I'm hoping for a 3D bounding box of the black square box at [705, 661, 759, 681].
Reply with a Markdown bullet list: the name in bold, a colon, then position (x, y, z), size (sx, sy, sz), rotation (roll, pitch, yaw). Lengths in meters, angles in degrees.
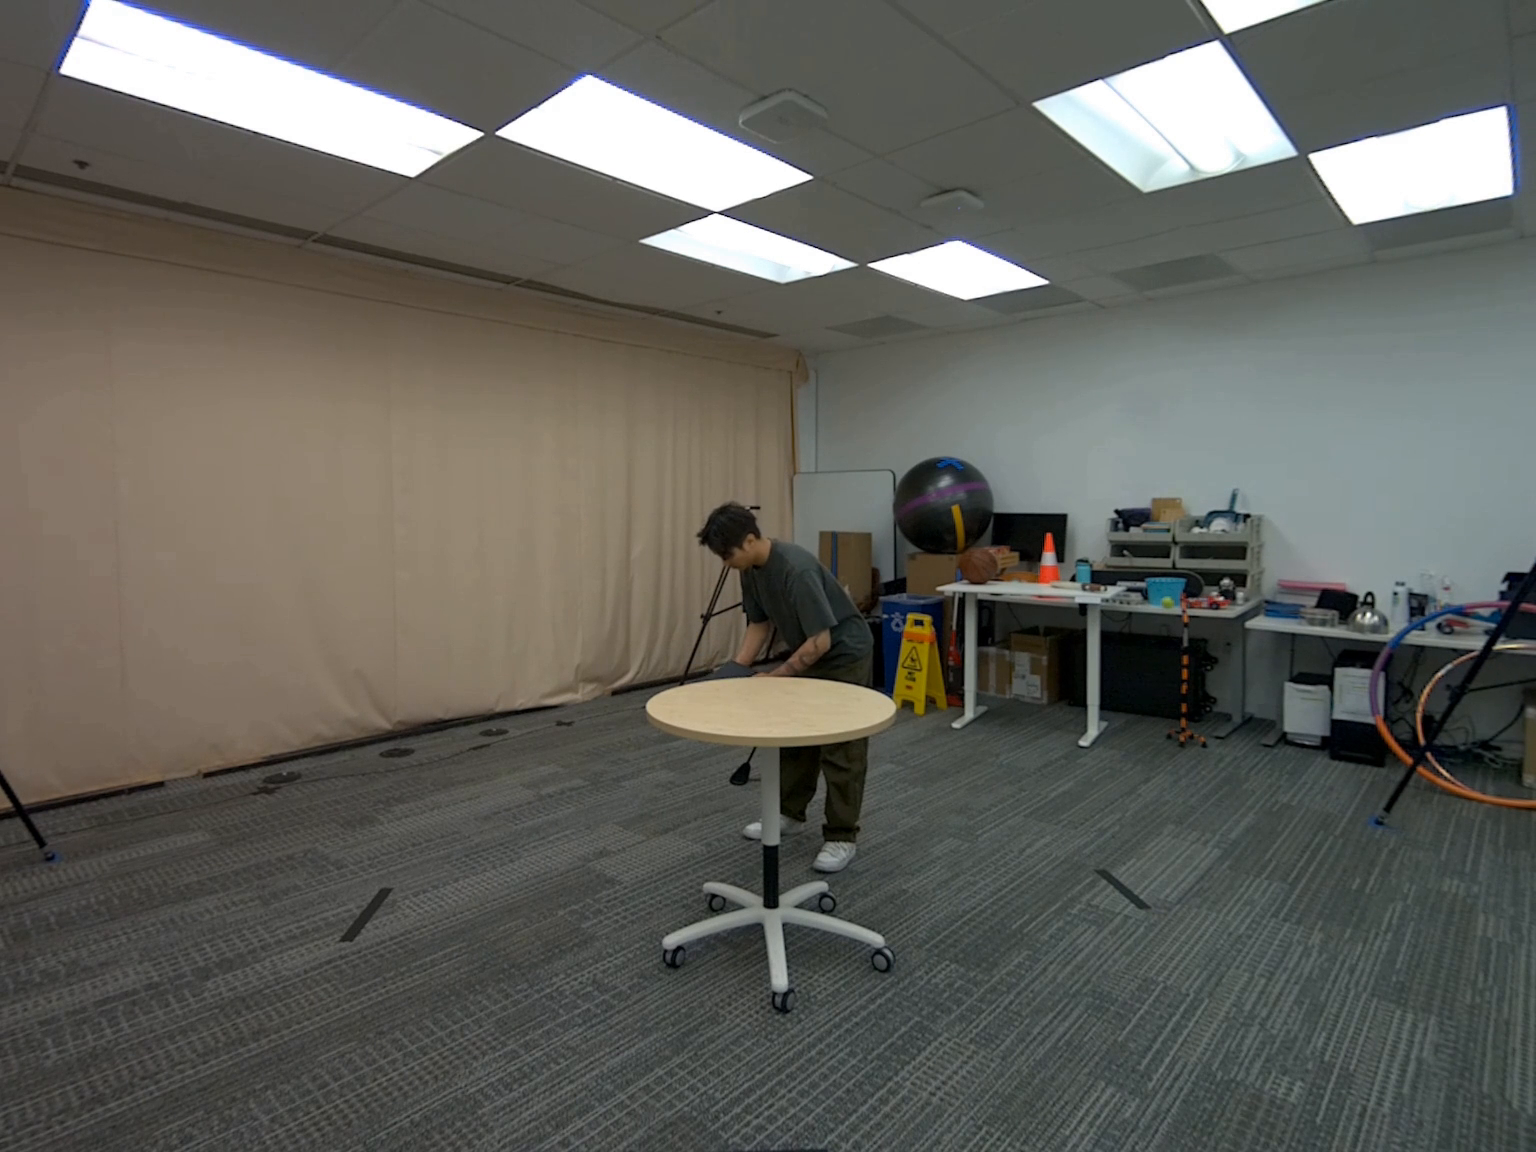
- **black square box**: position (-0.166, 0.474, 3.289), size (0.225, 0.154, 0.223), rotation (-29, 16, -23)
